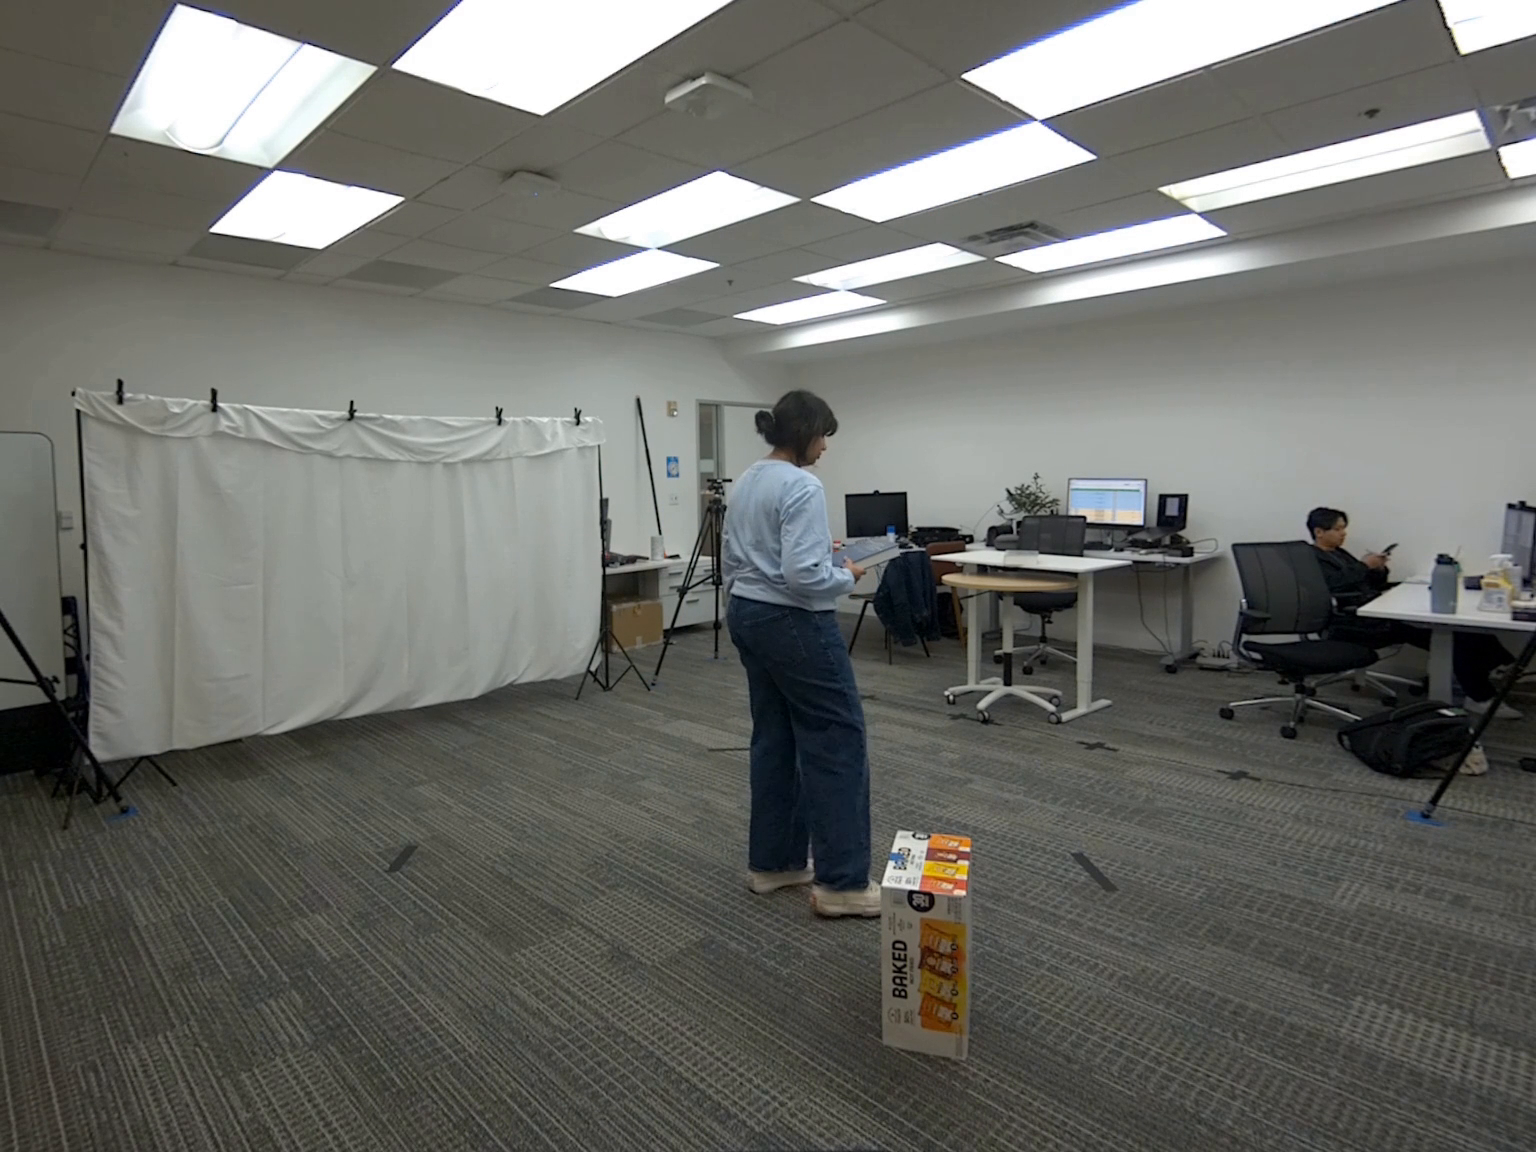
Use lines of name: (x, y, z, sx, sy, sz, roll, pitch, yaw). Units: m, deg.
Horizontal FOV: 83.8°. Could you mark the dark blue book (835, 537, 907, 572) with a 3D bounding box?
dark blue book: (0.325, -0.066, 2.966, 0.243, 0.044, 0.167, -17, 17, -14)
